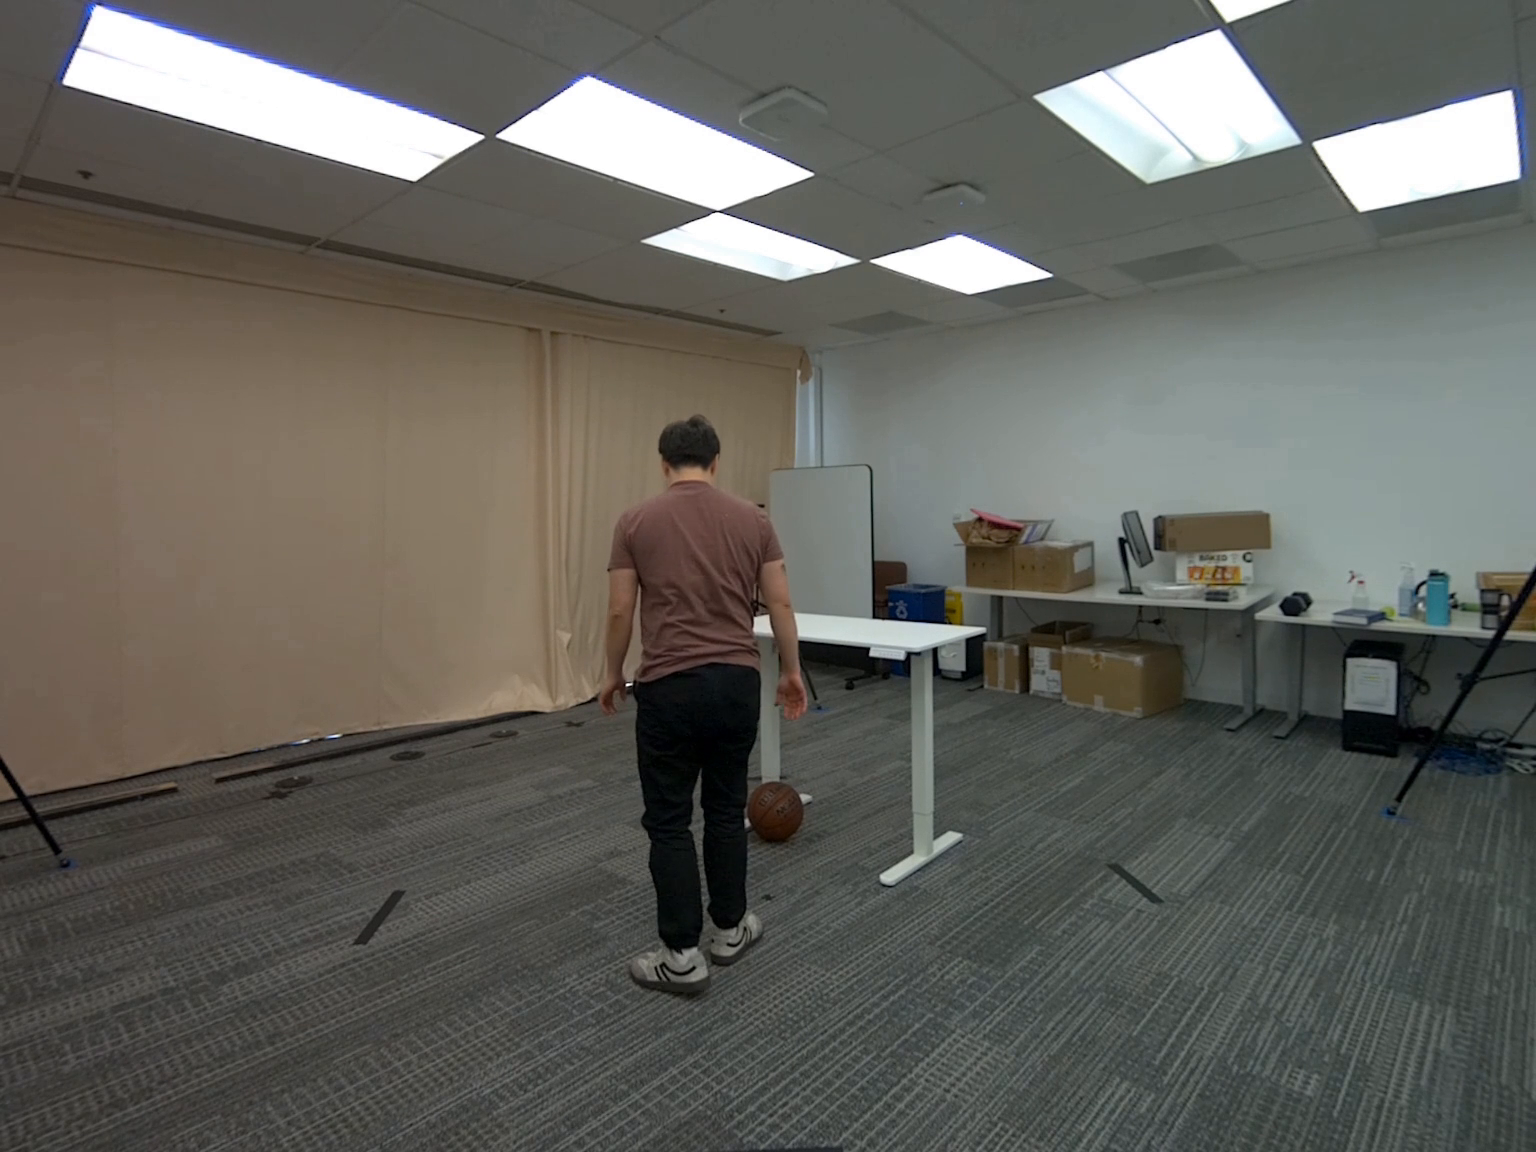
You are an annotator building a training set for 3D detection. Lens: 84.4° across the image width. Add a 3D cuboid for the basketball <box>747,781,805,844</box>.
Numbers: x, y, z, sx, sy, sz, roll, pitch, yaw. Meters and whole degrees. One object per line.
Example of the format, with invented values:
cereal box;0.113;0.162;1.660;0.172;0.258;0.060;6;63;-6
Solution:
basketball;0.031;0.978;3.493;0.236;0.235;0.237;-1;4;-2
